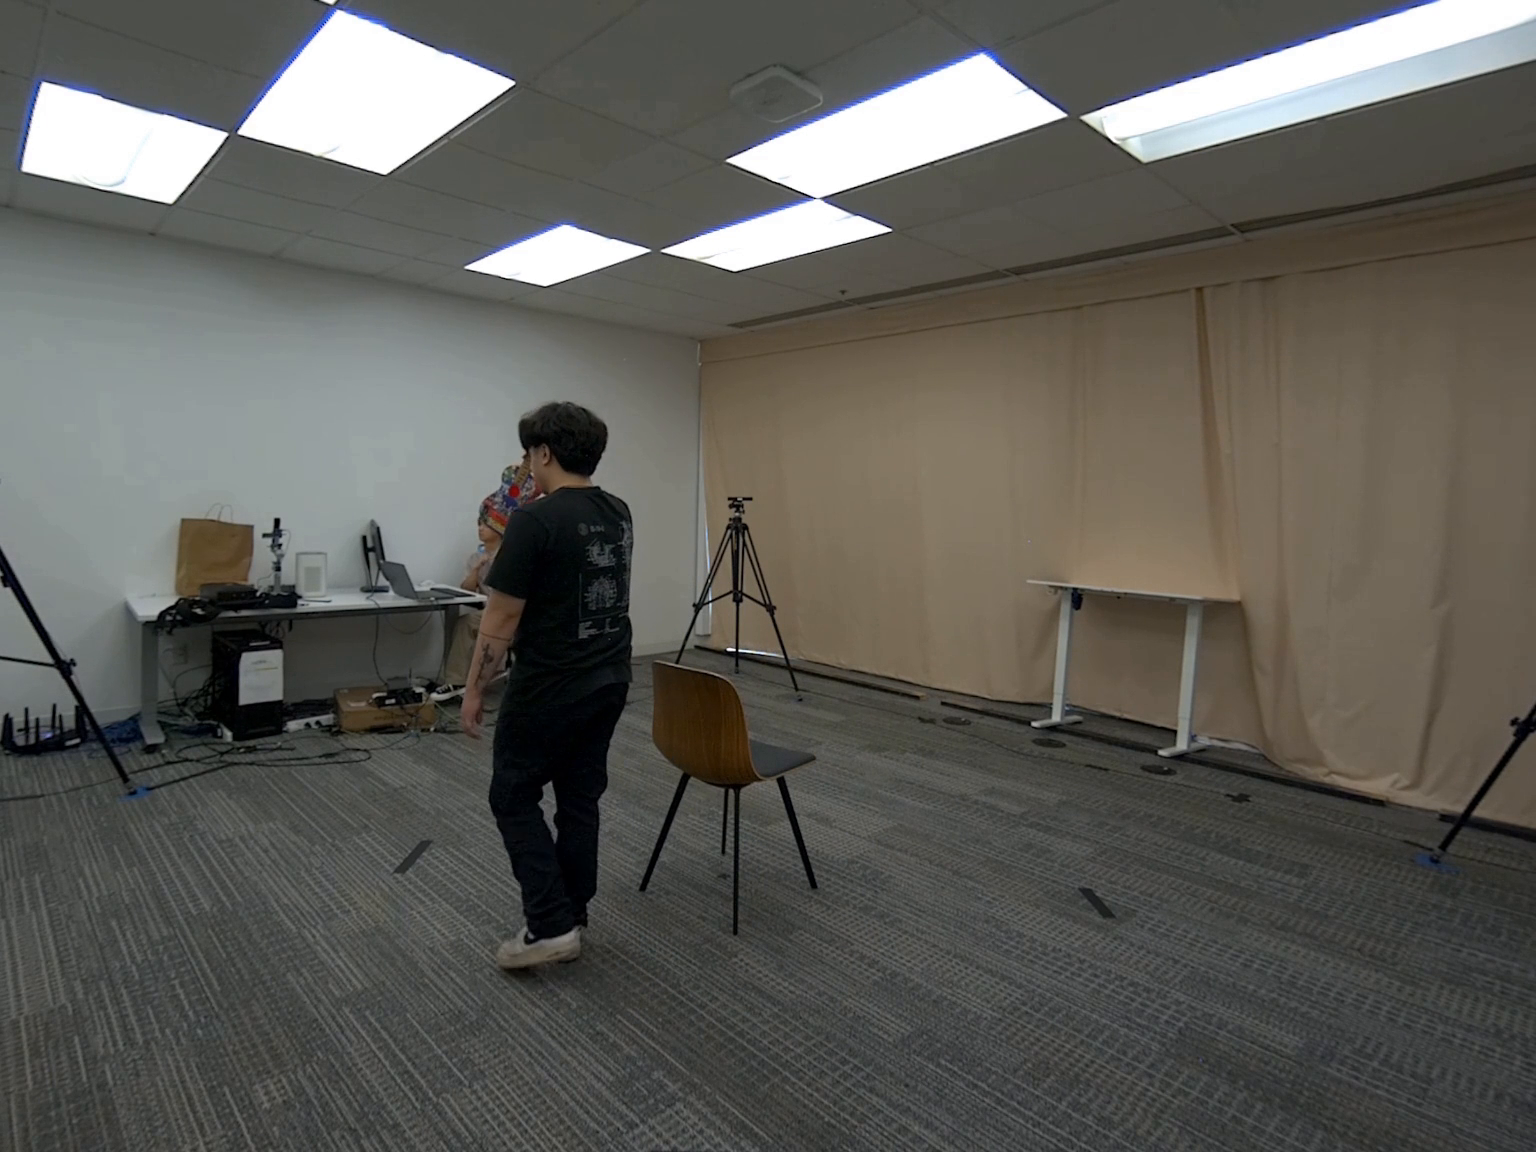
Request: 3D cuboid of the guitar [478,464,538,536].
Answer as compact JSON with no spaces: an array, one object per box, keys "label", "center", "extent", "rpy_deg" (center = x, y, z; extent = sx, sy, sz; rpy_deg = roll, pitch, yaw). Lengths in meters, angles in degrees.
[{"label":"guitar","center":[-0.870,-0.359,3.062],"extent":[0.195,0.497,0.070],"rpy_deg":[40,17,8]}]
